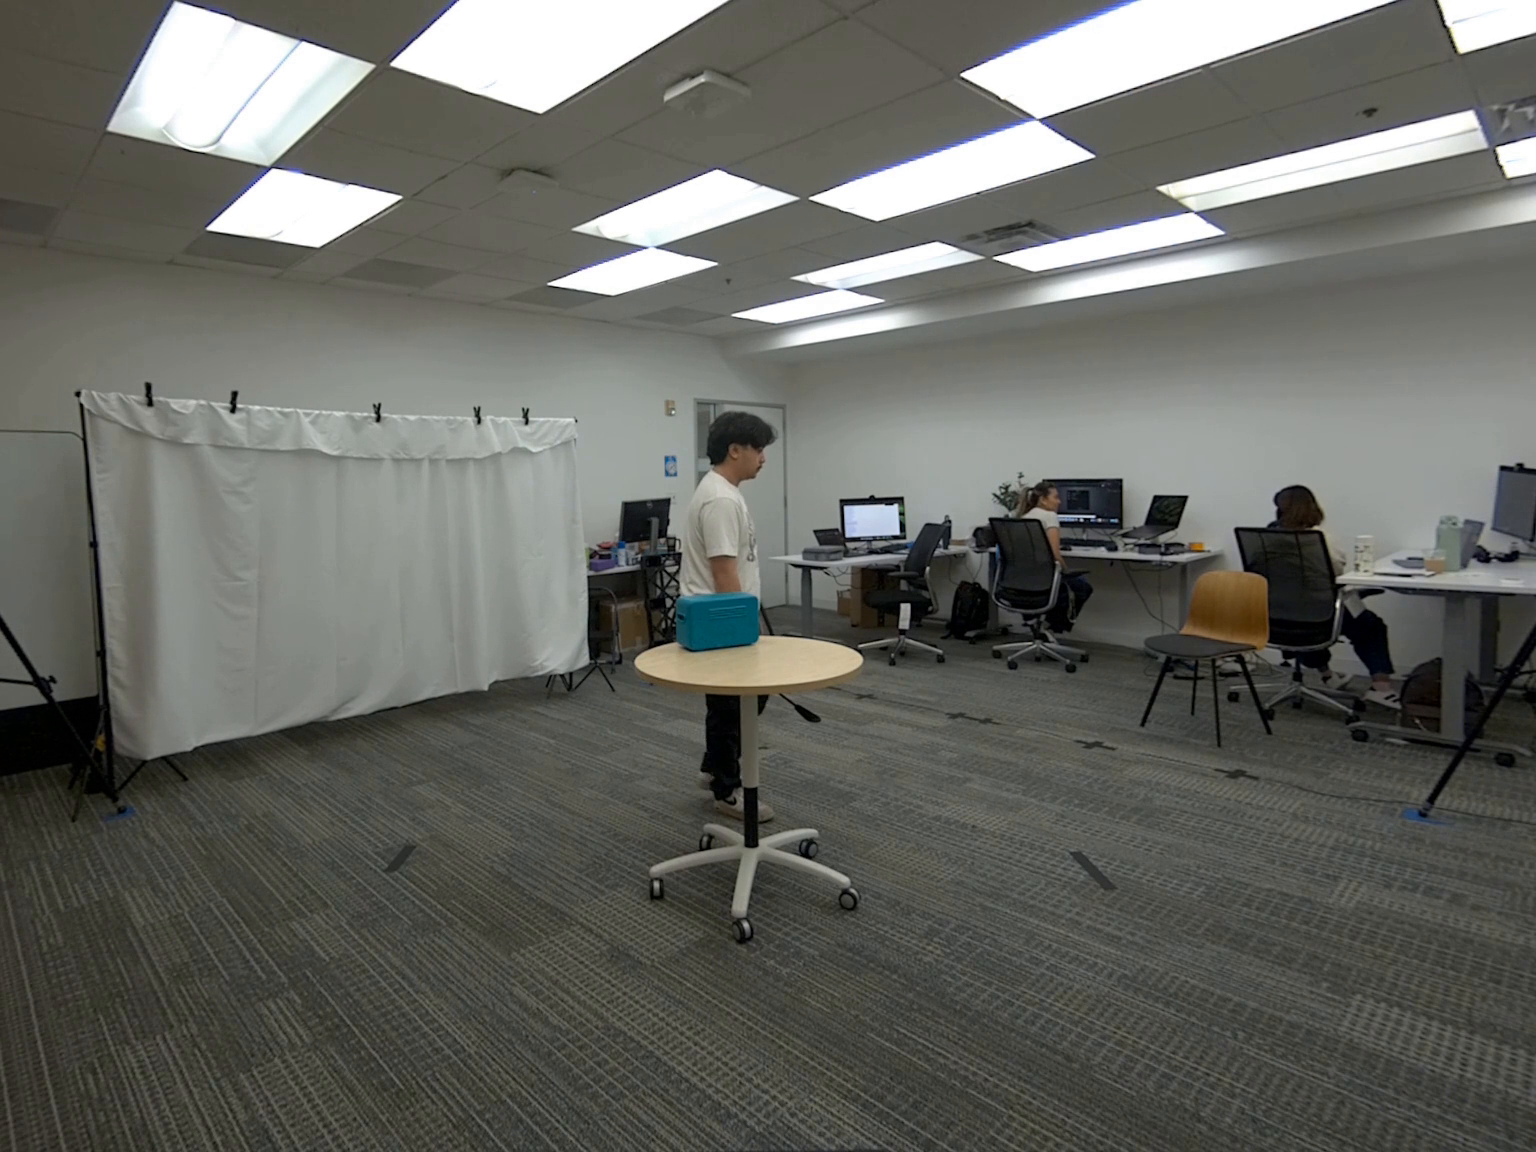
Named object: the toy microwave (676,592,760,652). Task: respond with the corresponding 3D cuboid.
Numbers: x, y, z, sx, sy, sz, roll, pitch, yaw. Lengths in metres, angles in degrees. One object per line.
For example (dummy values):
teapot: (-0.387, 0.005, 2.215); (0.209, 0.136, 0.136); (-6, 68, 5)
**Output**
toy microwave: (-0.191, 0.162, 3.091); (0.280, 0.183, 0.156); (-4, 6, -28)
